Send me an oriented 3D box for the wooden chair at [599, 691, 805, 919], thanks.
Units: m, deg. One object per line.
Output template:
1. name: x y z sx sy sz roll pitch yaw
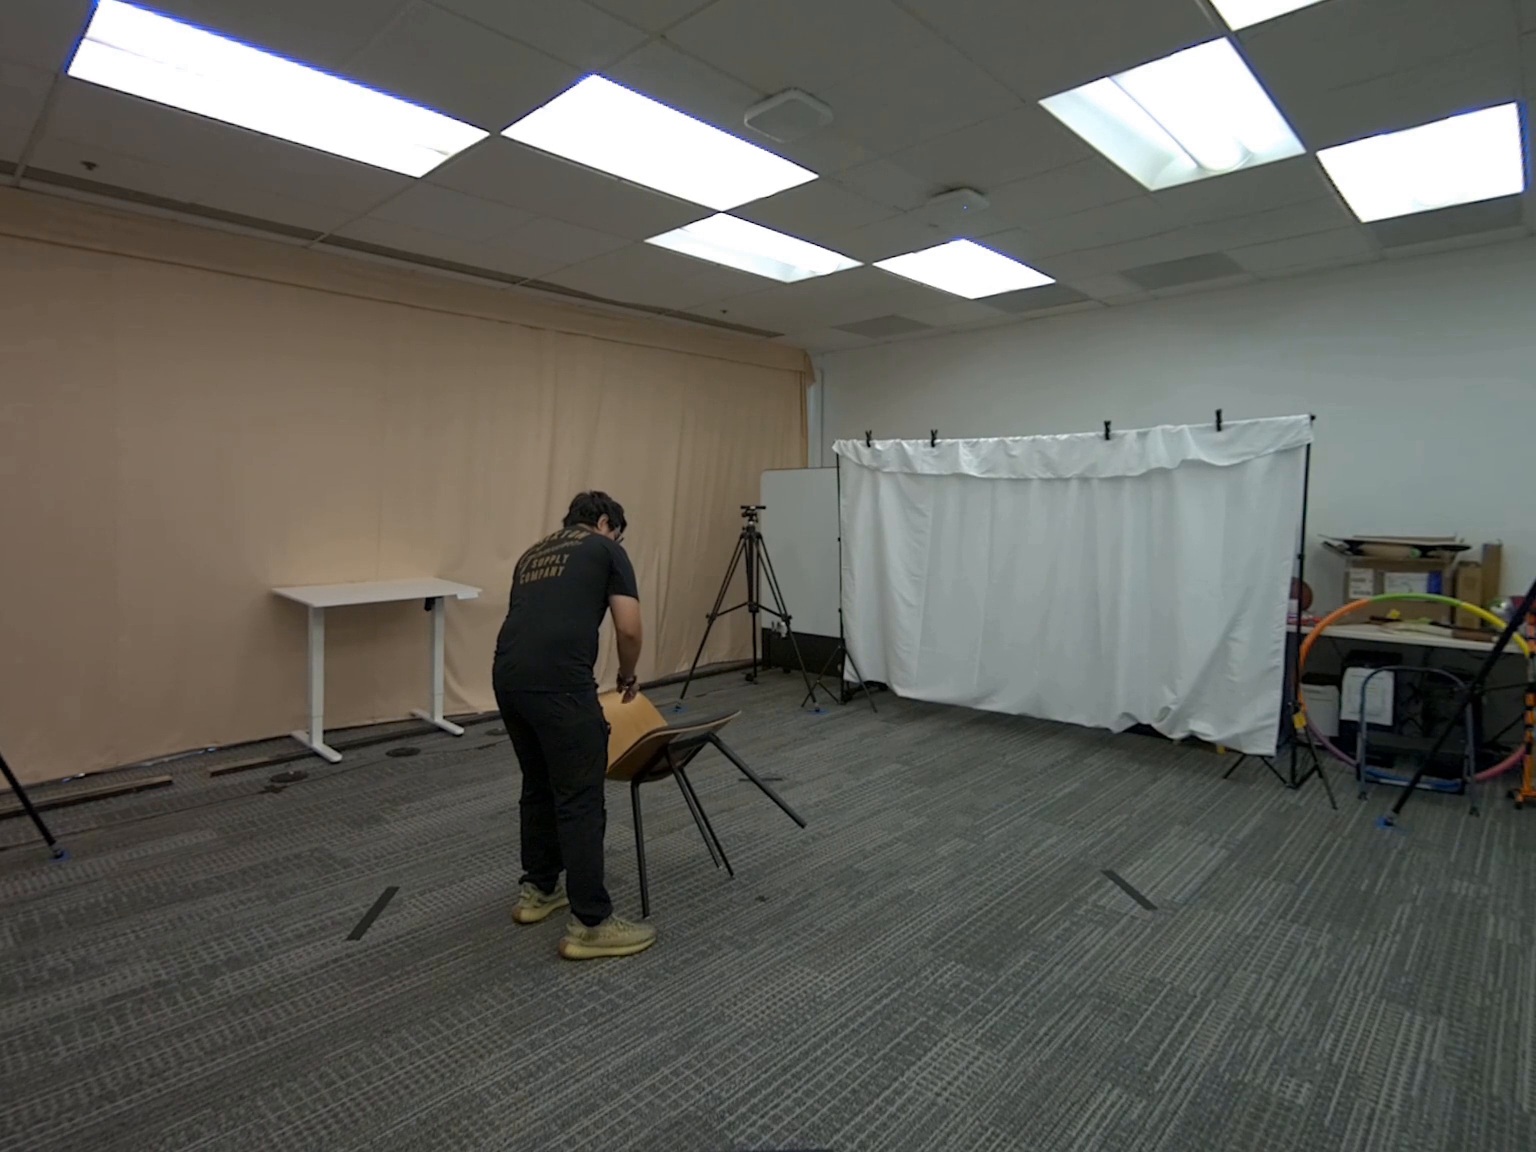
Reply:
1. wooden chair: -0.334 0.666 3.037 0.463 0.900 0.525 -5 -38 -47
